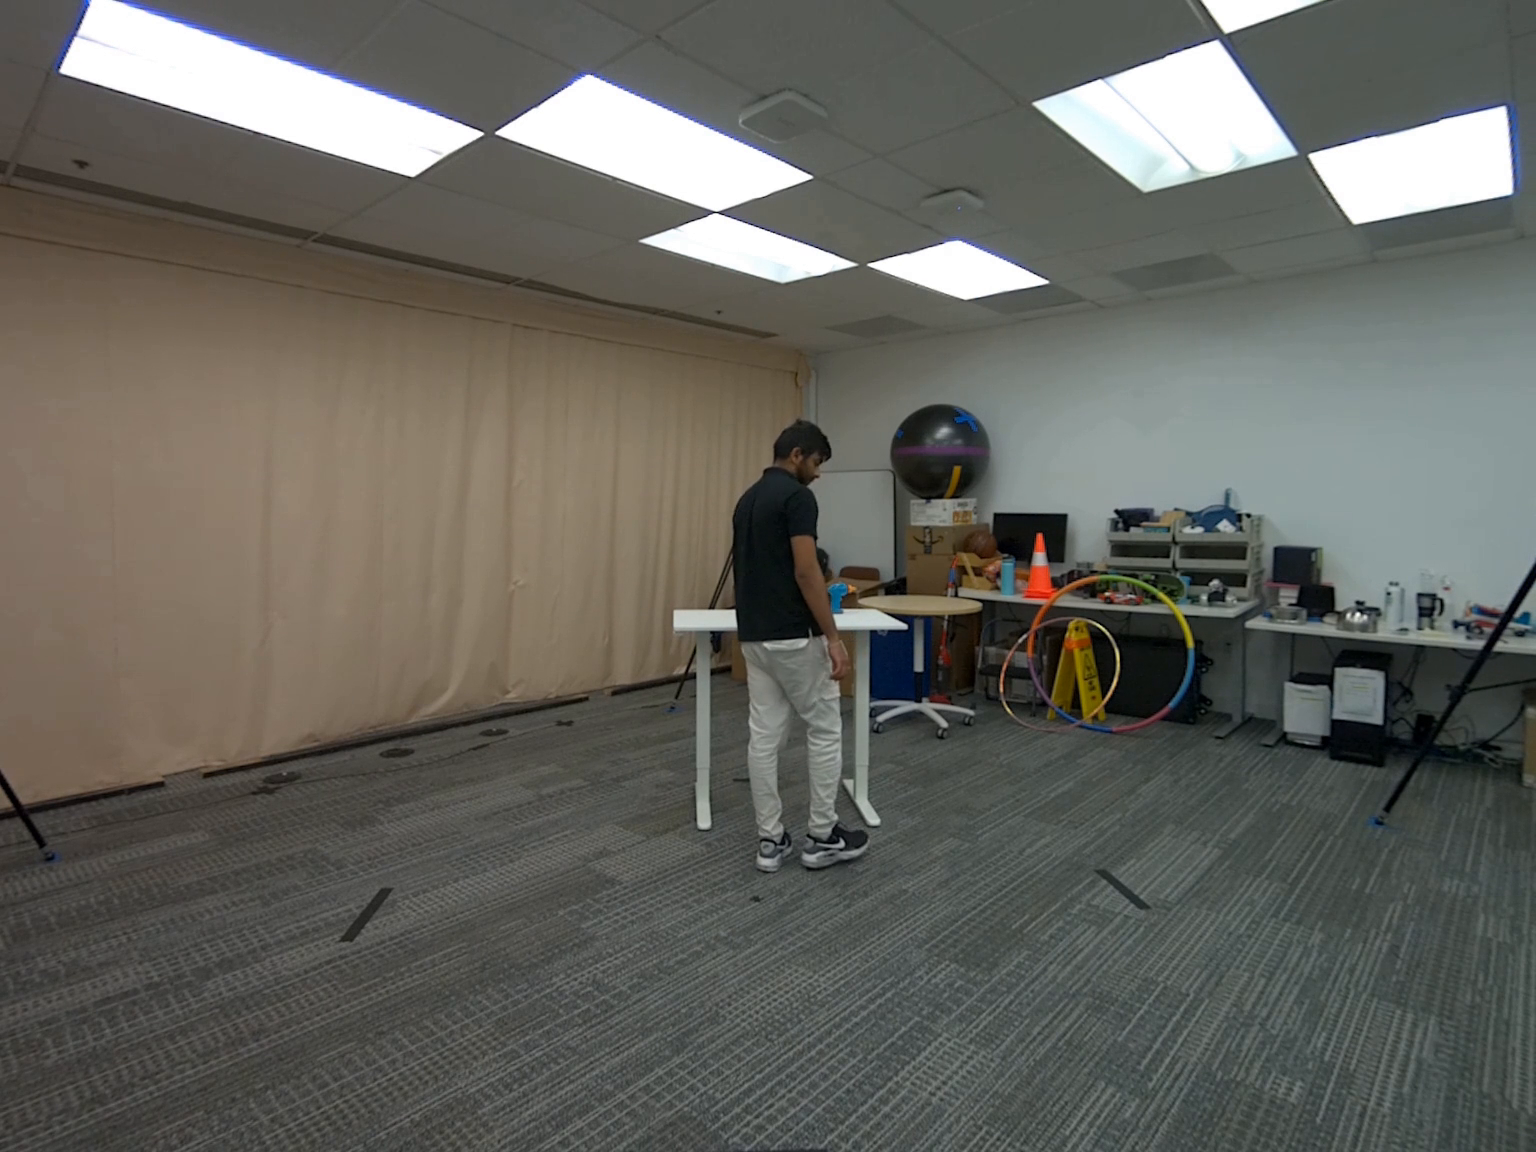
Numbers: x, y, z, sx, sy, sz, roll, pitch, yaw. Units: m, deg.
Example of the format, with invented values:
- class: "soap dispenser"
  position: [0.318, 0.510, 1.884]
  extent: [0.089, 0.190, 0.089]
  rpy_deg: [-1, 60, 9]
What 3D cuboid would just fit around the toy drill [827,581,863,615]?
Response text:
- class: "toy drill"
  position: [0.361, 0.103, 4.044]
  extent: [0.165, 0.146, 0.063]
  rpy_deg: [-1, 3, -32]
